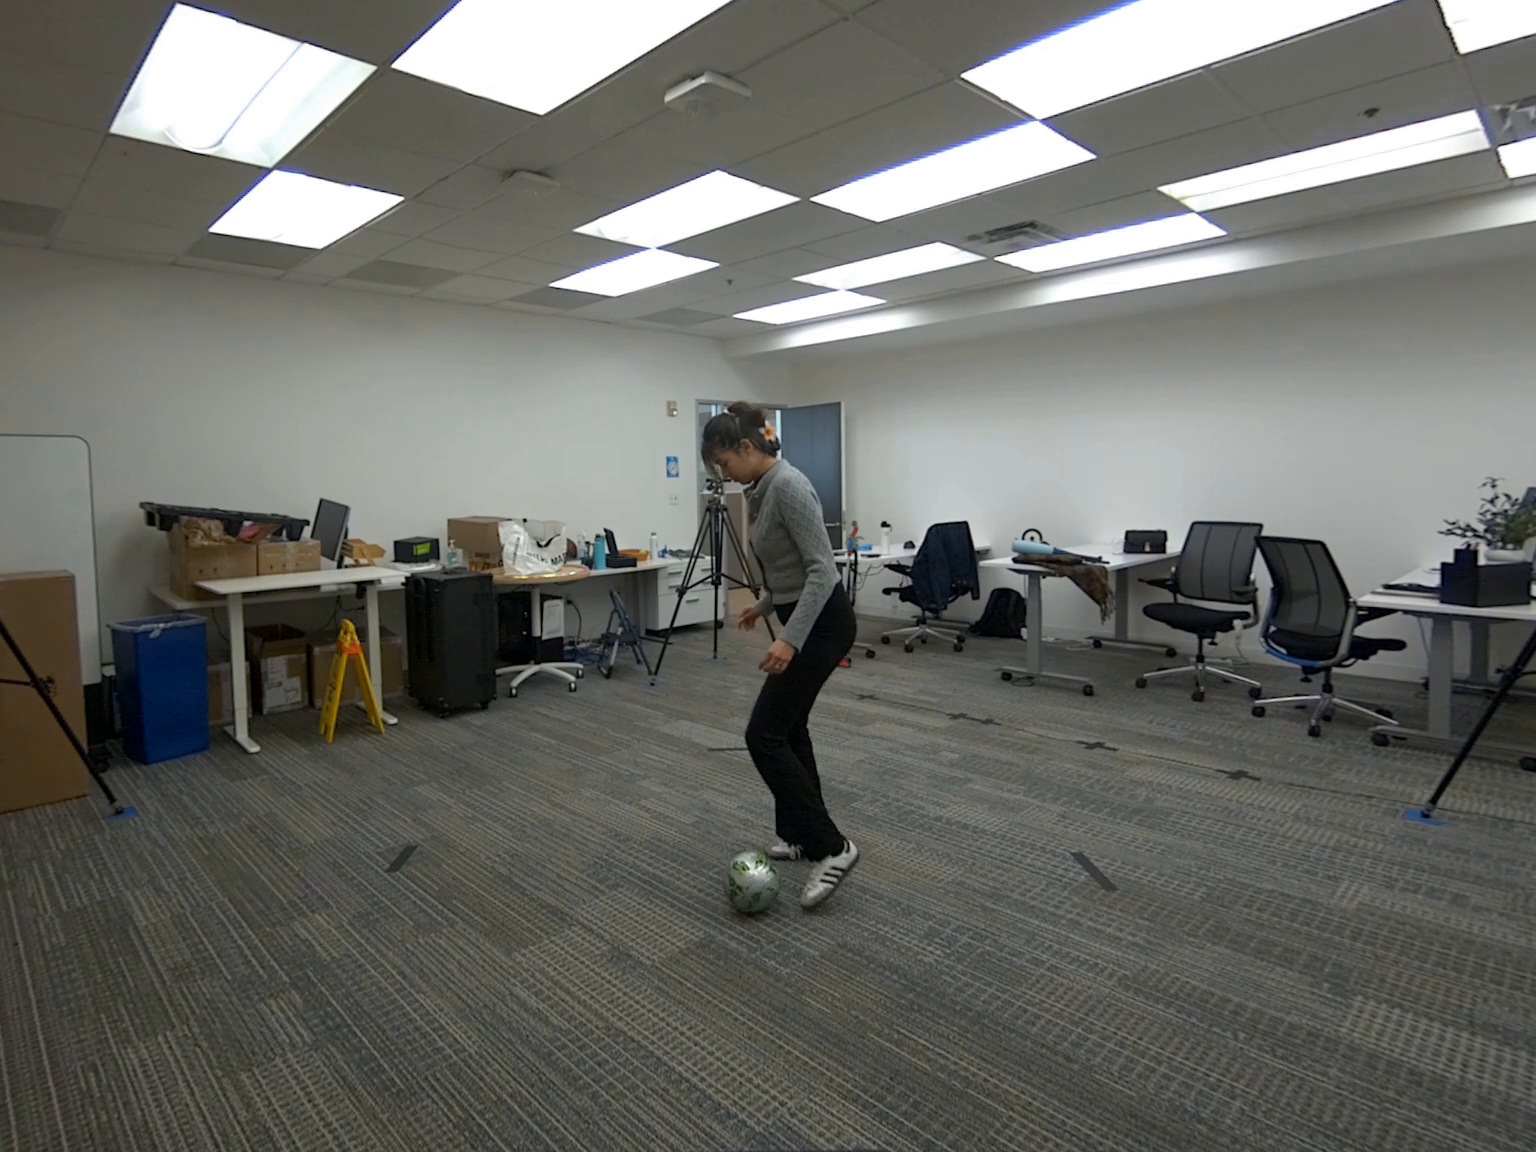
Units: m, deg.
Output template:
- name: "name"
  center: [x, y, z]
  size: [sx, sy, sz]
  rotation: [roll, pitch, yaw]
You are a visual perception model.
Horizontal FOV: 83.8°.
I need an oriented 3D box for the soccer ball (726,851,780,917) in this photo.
- name: "soccer ball"
  center: [-0.049, 0.990, 2.767]
  size: [0.187, 0.187, 0.188]
  rotation: [-1, 5, -2]
